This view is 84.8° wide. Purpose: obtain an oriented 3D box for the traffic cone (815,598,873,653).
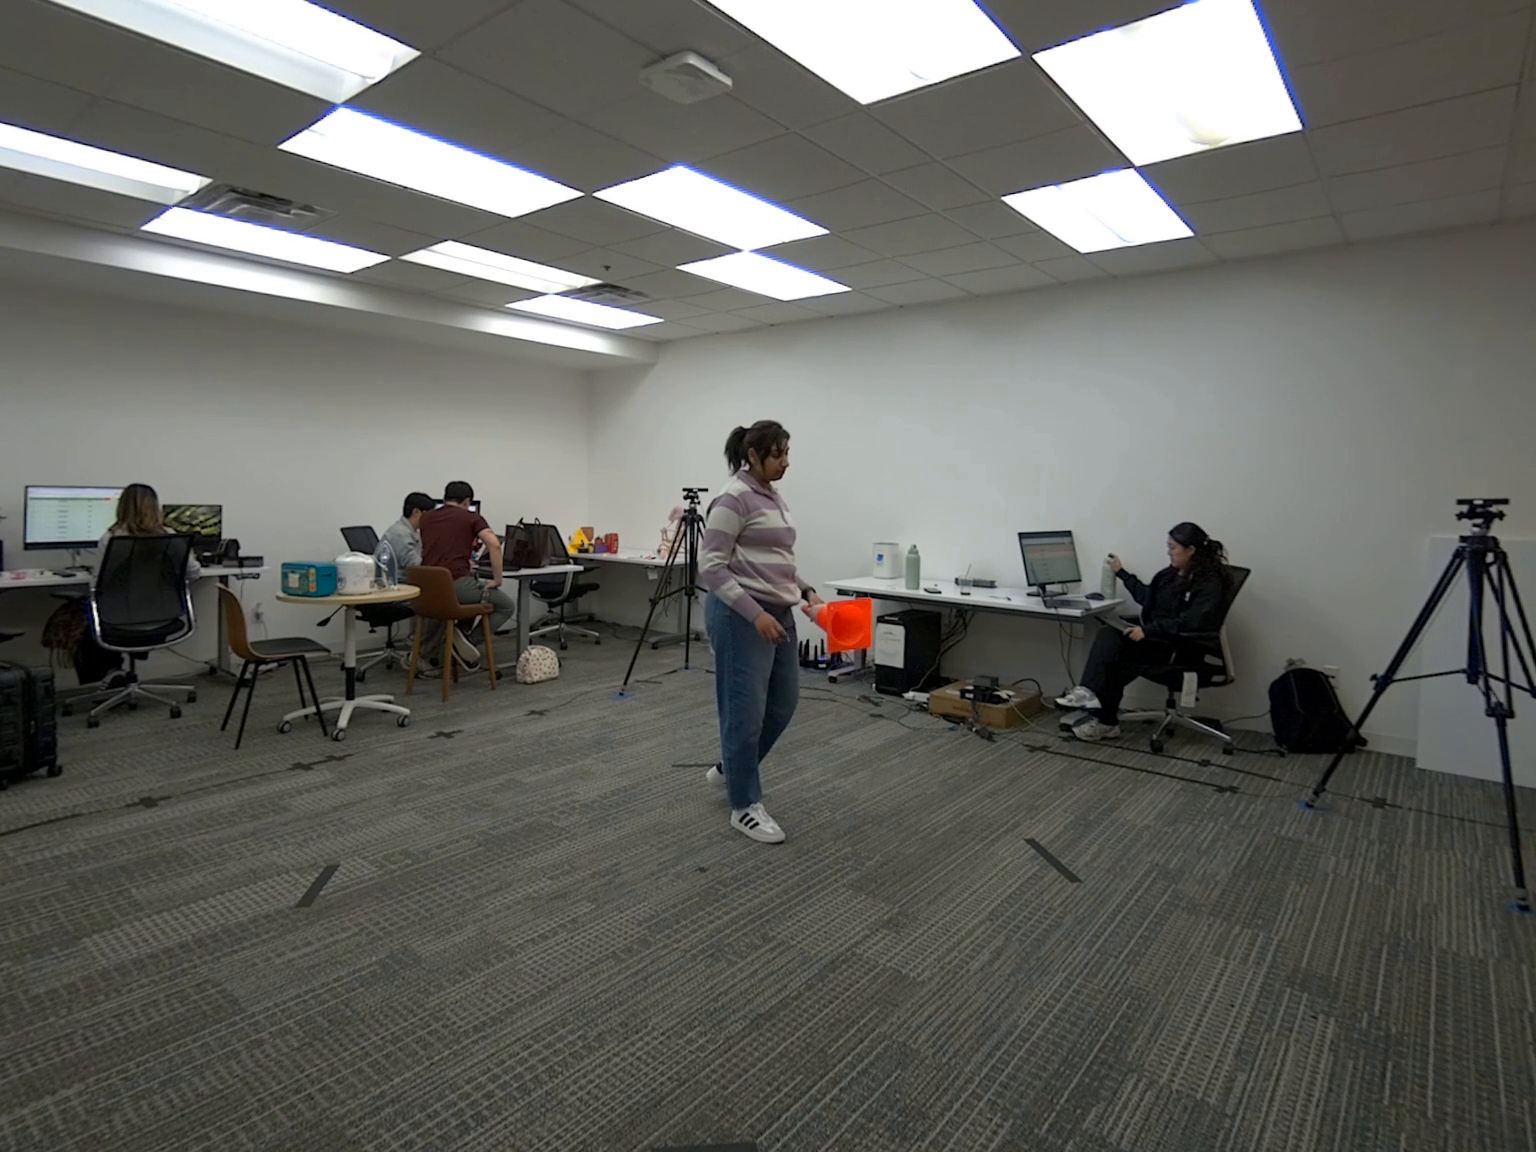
[{"bbox_3d":[0.214,0.165,3.443,0.200,0.202,0.394,-4,7,-24],"label":"traffic cone"}]
